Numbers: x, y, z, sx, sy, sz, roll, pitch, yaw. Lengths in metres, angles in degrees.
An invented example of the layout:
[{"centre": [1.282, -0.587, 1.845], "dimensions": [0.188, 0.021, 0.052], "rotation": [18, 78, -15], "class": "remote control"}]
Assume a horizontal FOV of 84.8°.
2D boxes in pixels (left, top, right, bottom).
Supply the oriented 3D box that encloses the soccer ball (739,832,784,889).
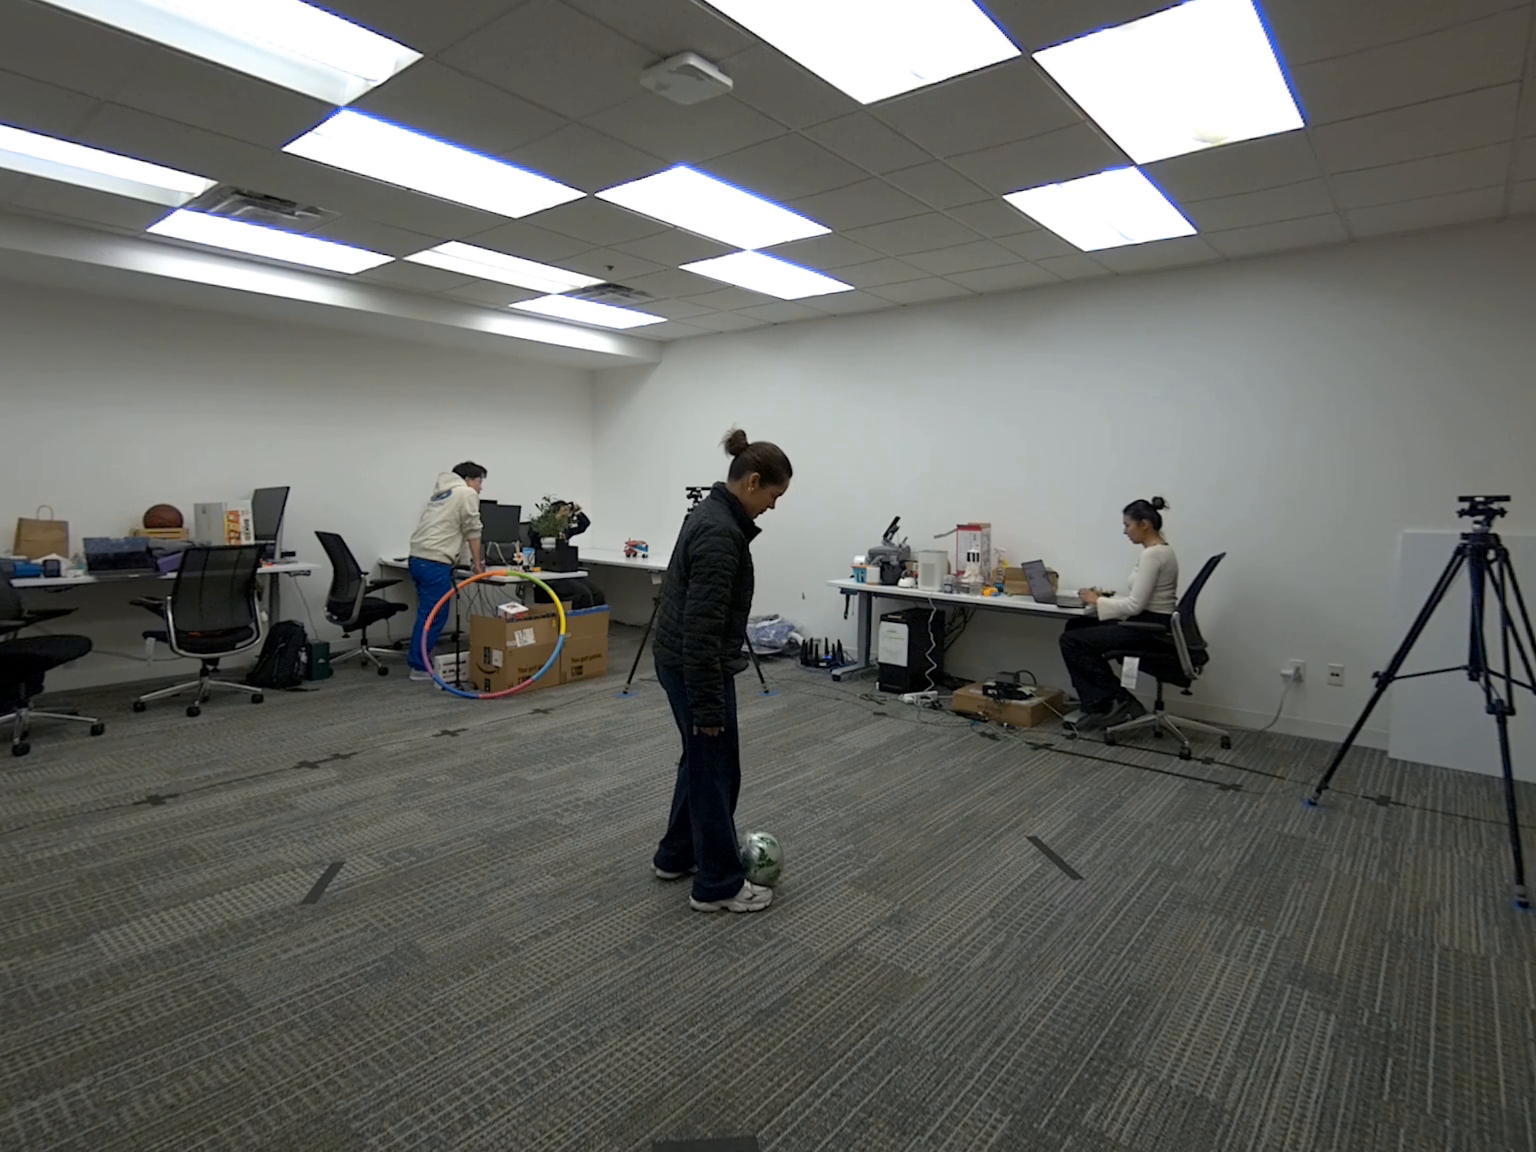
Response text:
[{"centre": [-0.040, 0.992, 2.976], "dimensions": [0.187, 0.187, 0.188], "rotation": [1, 4, -2], "class": "soccer ball"}]
